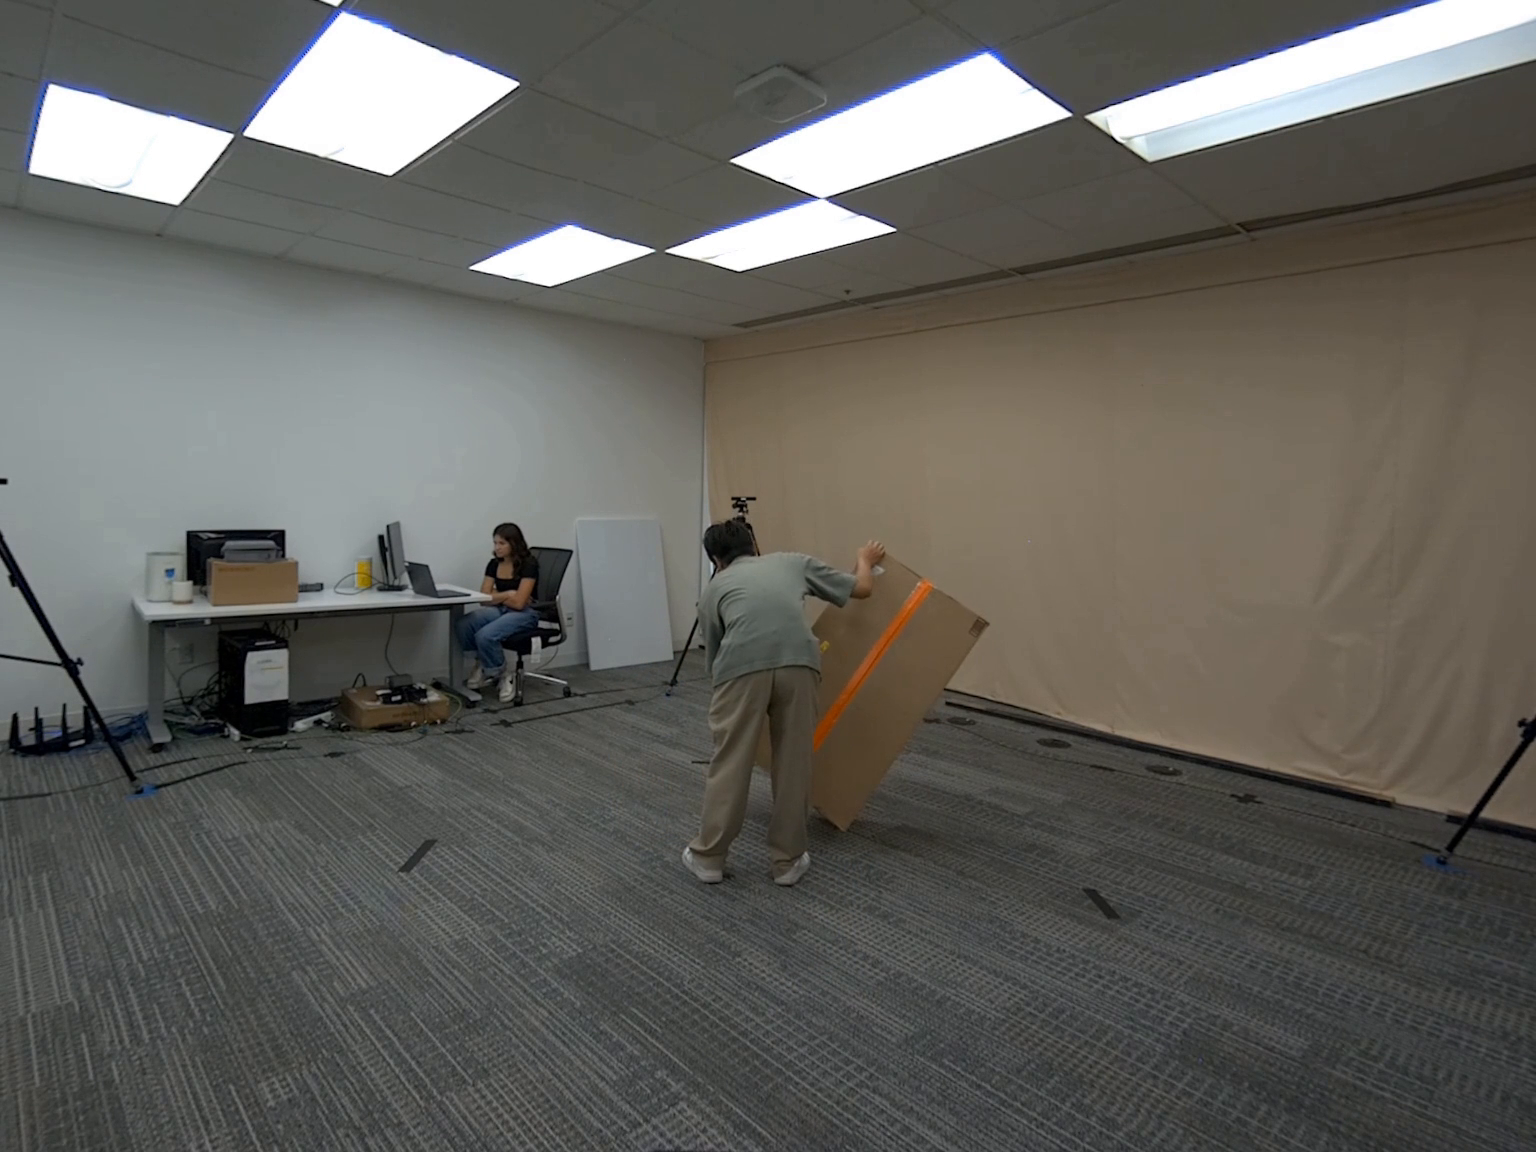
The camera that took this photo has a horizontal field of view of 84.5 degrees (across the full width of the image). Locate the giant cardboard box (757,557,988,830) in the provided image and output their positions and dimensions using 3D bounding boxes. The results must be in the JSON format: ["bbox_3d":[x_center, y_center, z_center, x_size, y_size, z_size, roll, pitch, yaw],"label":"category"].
[{"bbox_3d":[0.377,0.473,3.618,0.585,1.026,0.420,35,-6,12],"label":"giant cardboard box"}]
